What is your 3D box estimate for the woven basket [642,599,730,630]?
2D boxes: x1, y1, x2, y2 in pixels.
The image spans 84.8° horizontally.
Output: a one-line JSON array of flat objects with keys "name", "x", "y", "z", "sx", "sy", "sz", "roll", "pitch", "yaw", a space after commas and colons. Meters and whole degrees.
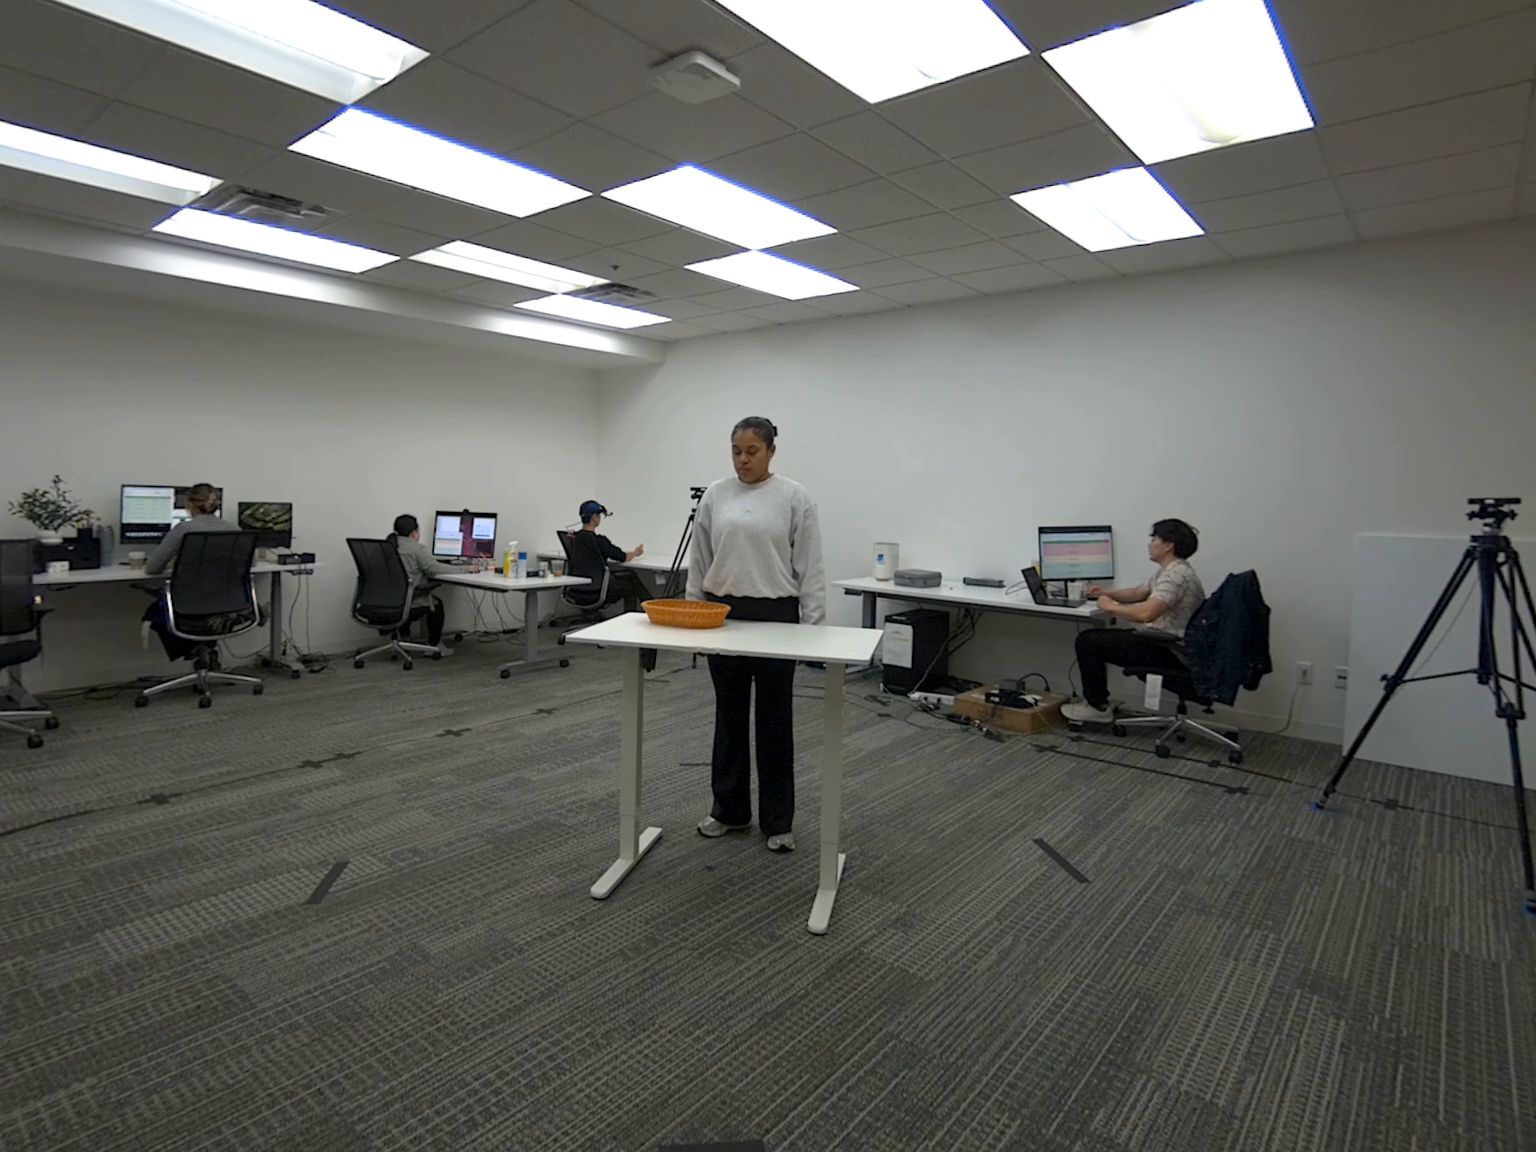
[{"name": "woven basket", "x": -0.318, "y": 0.145, "z": 3.174, "sx": 0.360, "sy": 0.073, "sz": 0.246, "roll": 4, "pitch": 7, "yaw": 28}]
